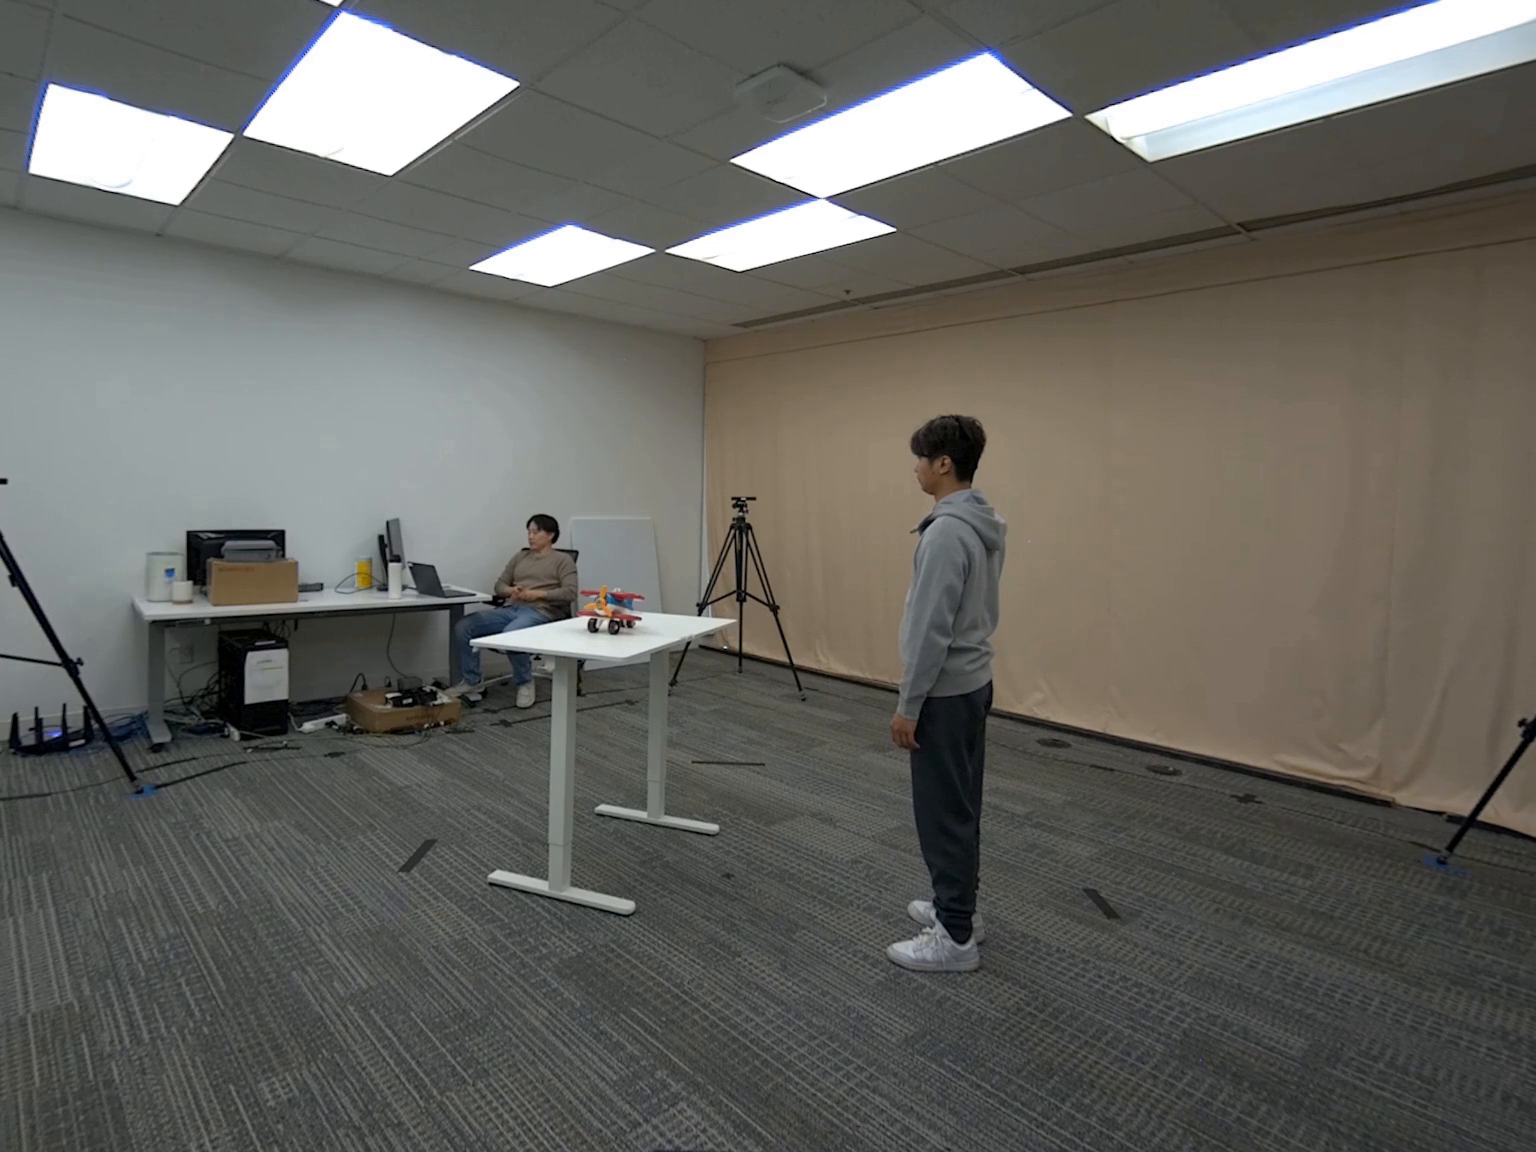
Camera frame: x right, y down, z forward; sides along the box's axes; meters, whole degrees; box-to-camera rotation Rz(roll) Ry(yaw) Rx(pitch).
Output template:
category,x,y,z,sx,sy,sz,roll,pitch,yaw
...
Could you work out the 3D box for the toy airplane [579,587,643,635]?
category,x,y,z,sx,sy,sz,roll,pitch,yaw
toy airplane,-0.603,0.130,3.197,0.249,0.156,0.261,1,4,-8
